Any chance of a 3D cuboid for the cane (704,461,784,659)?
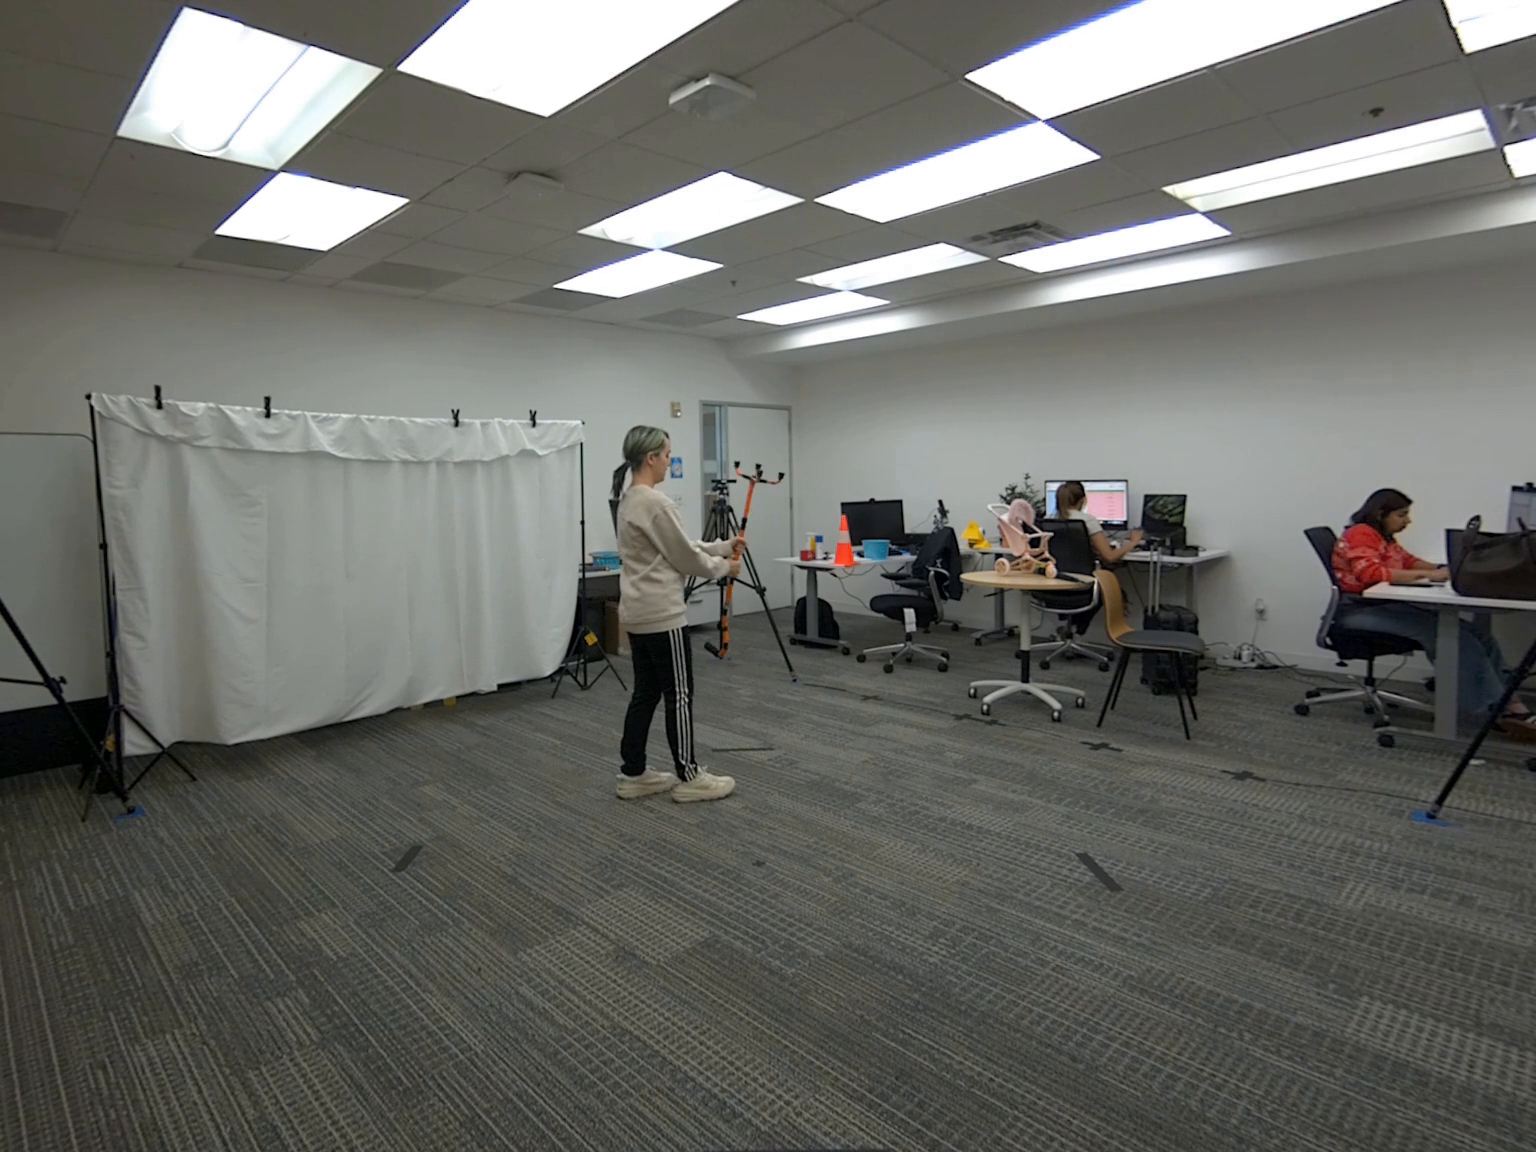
[{"bbox_3d":[-0.143,-0.053,3.922,0.147,0.901,0.214,5,13,-36],"label":"cane"}]
